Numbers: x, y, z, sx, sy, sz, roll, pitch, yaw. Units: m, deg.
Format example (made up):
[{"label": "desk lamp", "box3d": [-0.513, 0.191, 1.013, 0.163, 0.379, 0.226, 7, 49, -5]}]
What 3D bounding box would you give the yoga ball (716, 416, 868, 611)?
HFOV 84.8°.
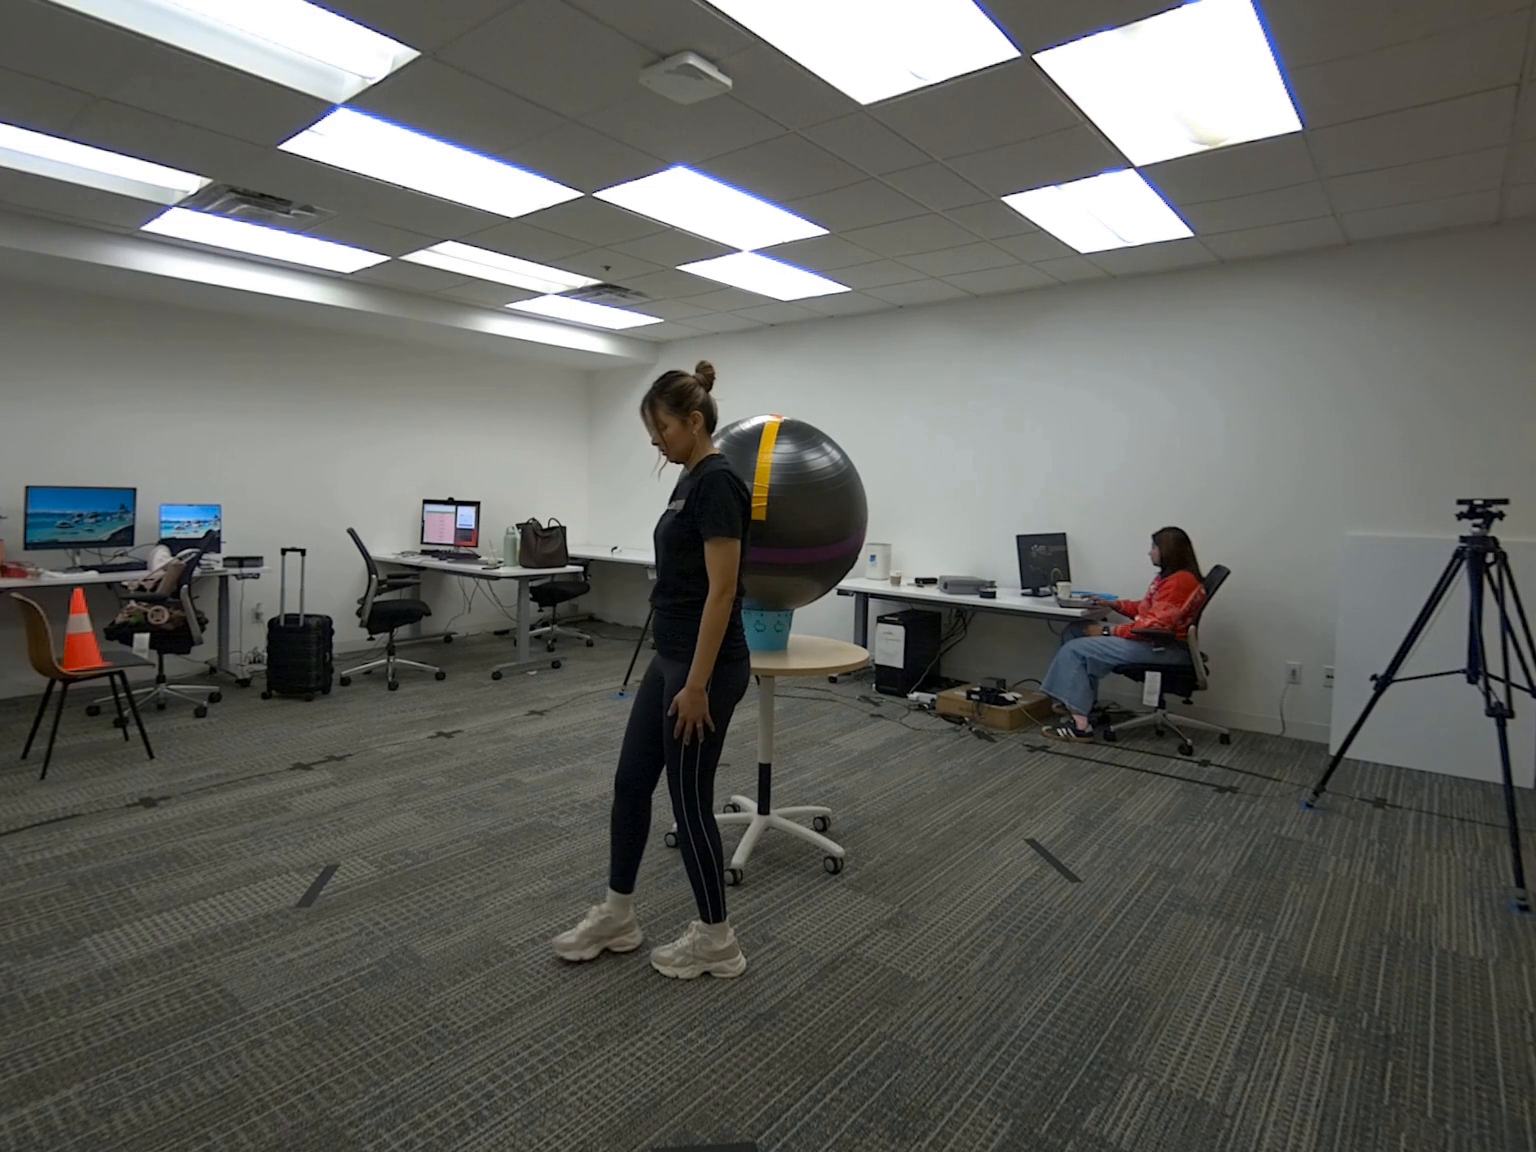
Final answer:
[{"label": "yoga ball", "box3d": [0.000, -0.238, 3.296, 0.757, 0.756, 0.762, 1, 4, -2]}]
